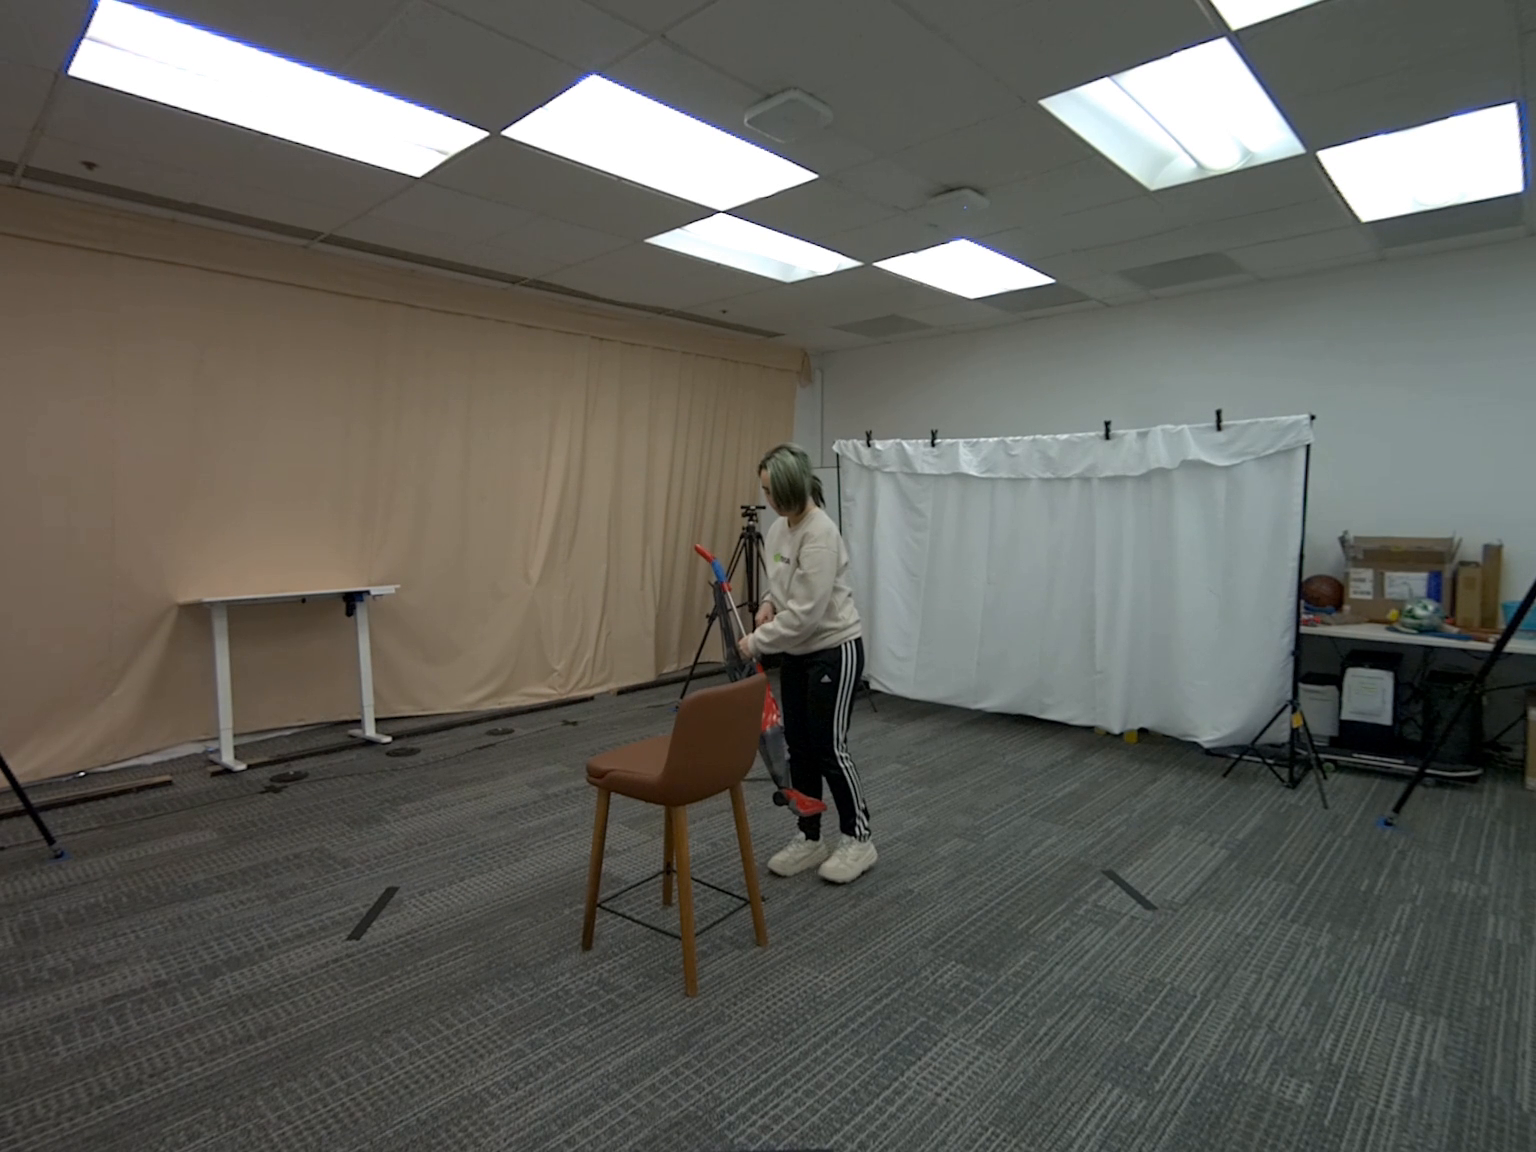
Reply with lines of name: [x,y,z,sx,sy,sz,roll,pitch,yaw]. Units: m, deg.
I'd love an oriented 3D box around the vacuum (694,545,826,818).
vacuum: [-0.082,0.345,3.149,0.145,1.070,0.245,-28,-20,12]
